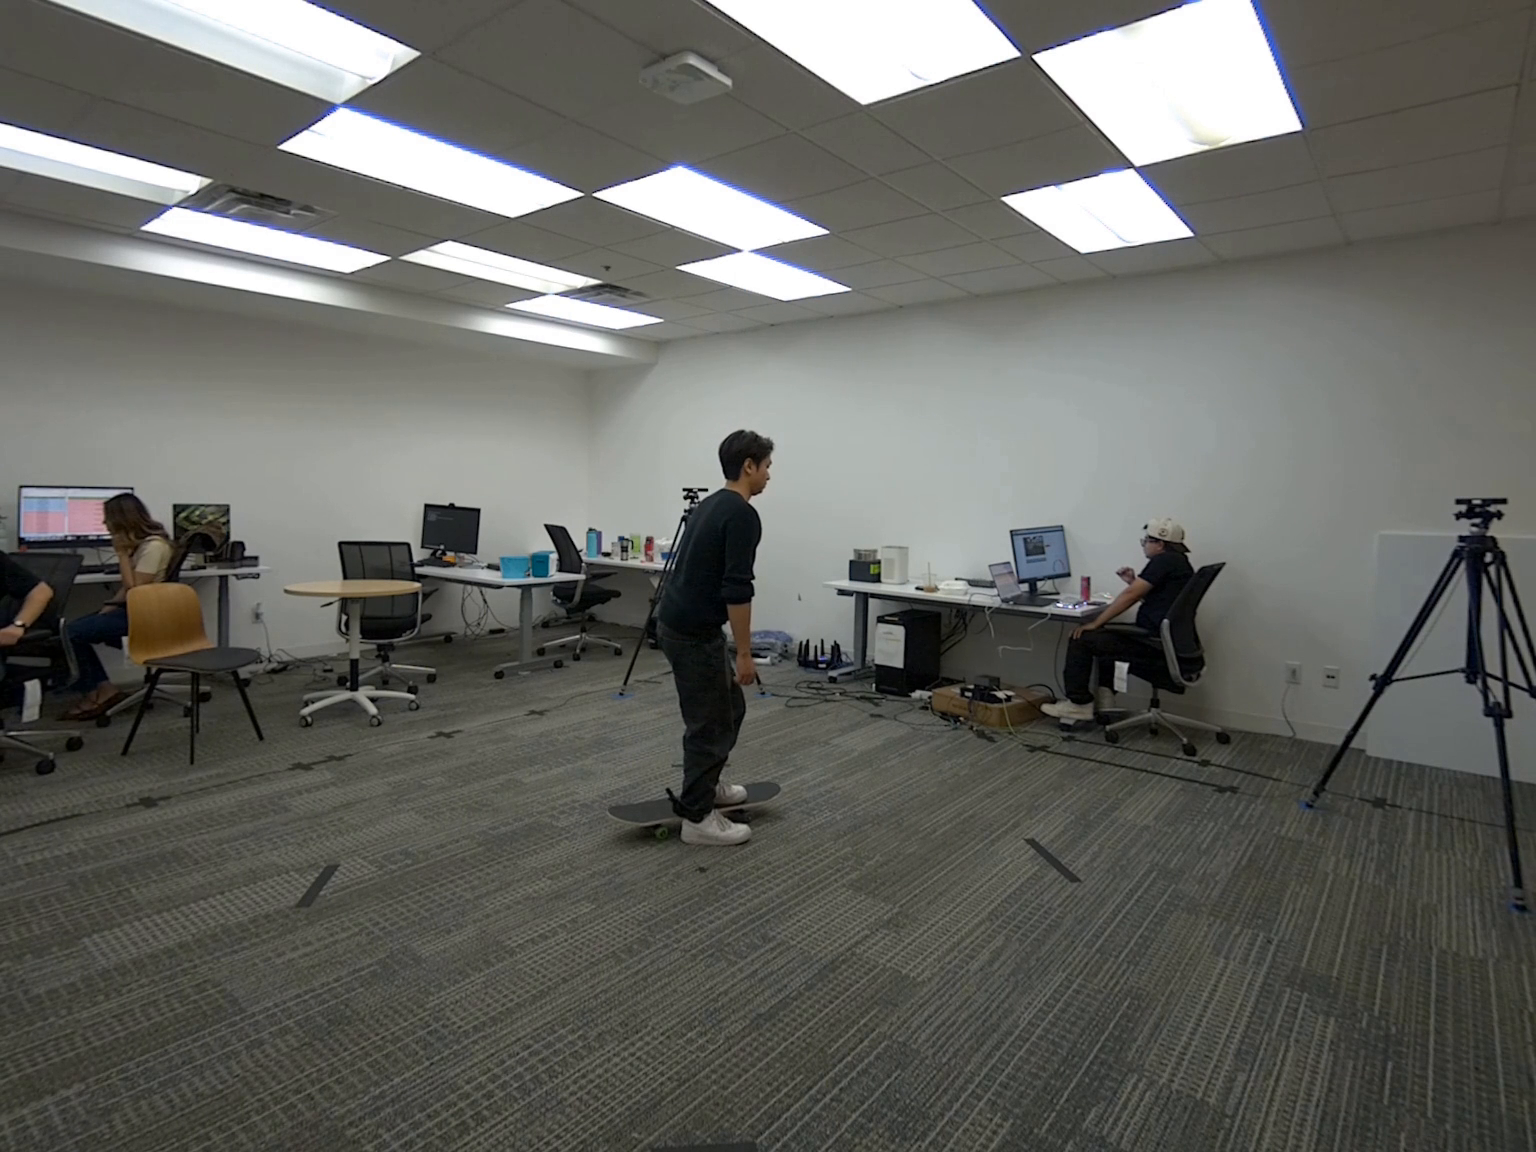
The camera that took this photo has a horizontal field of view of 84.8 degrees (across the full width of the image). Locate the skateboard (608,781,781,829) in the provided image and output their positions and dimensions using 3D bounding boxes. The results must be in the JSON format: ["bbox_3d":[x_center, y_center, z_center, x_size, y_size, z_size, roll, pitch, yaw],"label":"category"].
[{"bbox_3d":[-0.295,0.969,3.540,0.766,0.110,0.199,-3,8,-27],"label":"skateboard"}]
